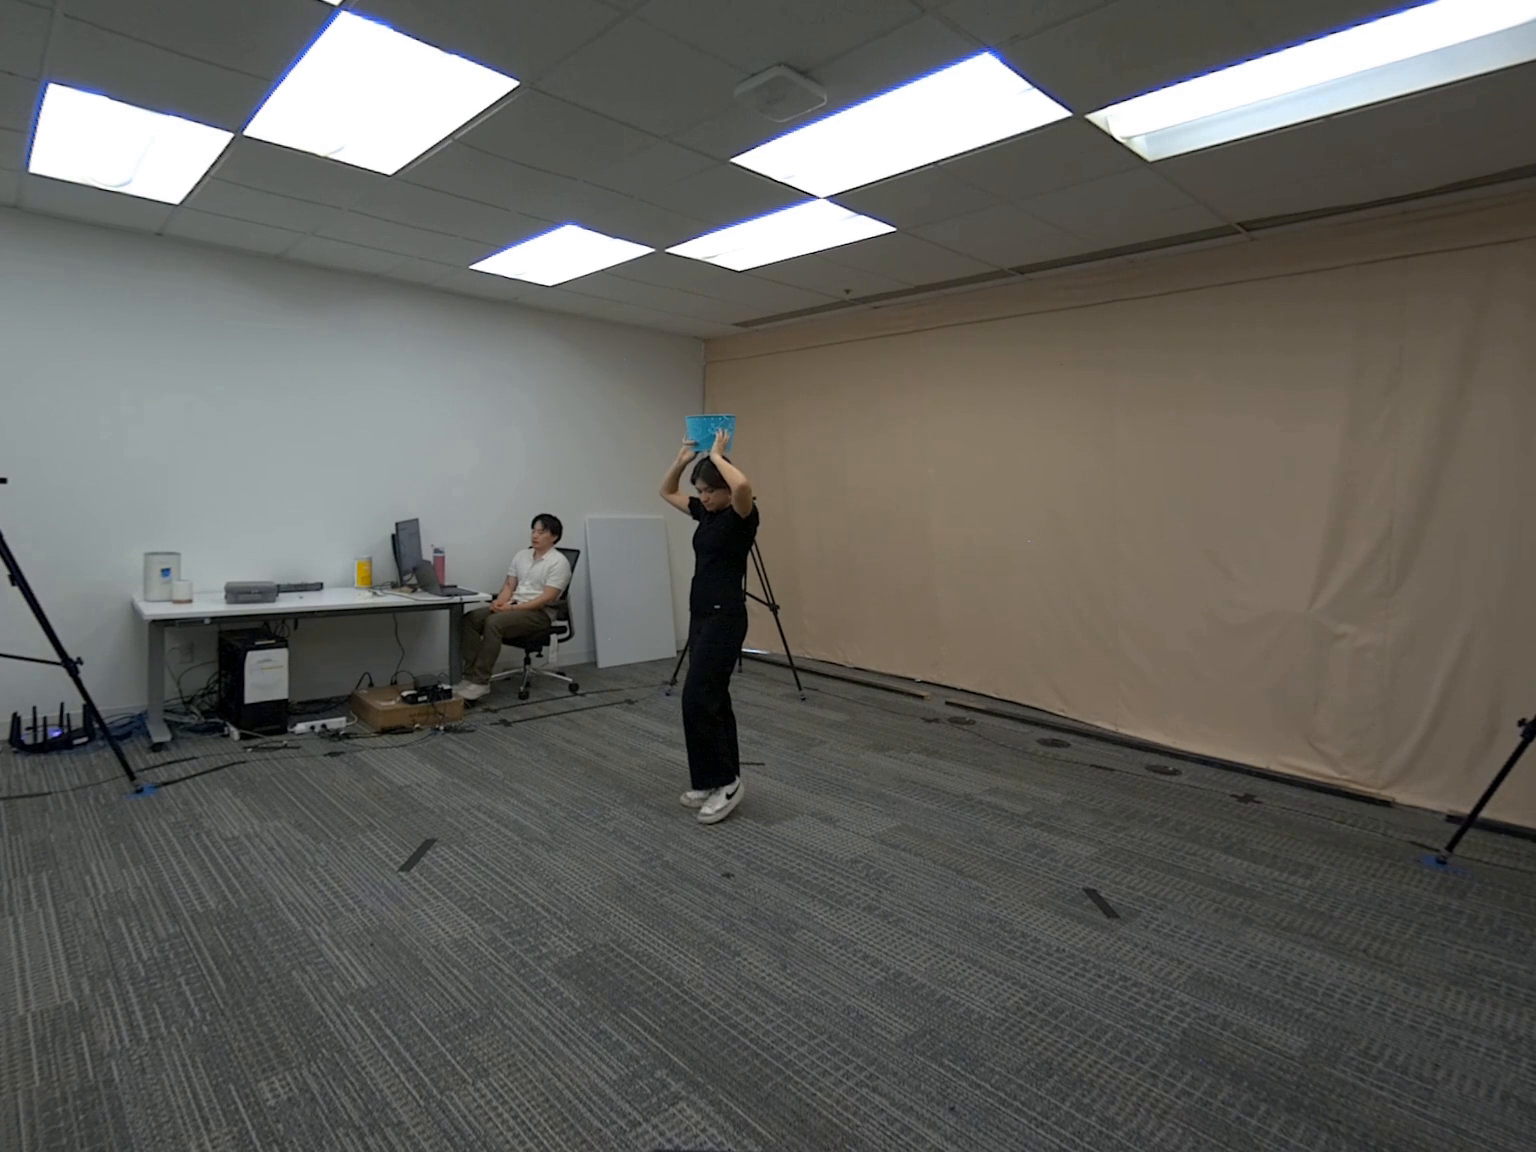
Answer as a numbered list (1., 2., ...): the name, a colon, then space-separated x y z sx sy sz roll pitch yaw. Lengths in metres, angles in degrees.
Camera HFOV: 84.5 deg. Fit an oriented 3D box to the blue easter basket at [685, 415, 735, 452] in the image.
1. blue easter basket: -0.274 -0.635 3.740 0.243 0.155 0.245 1 6 -1
